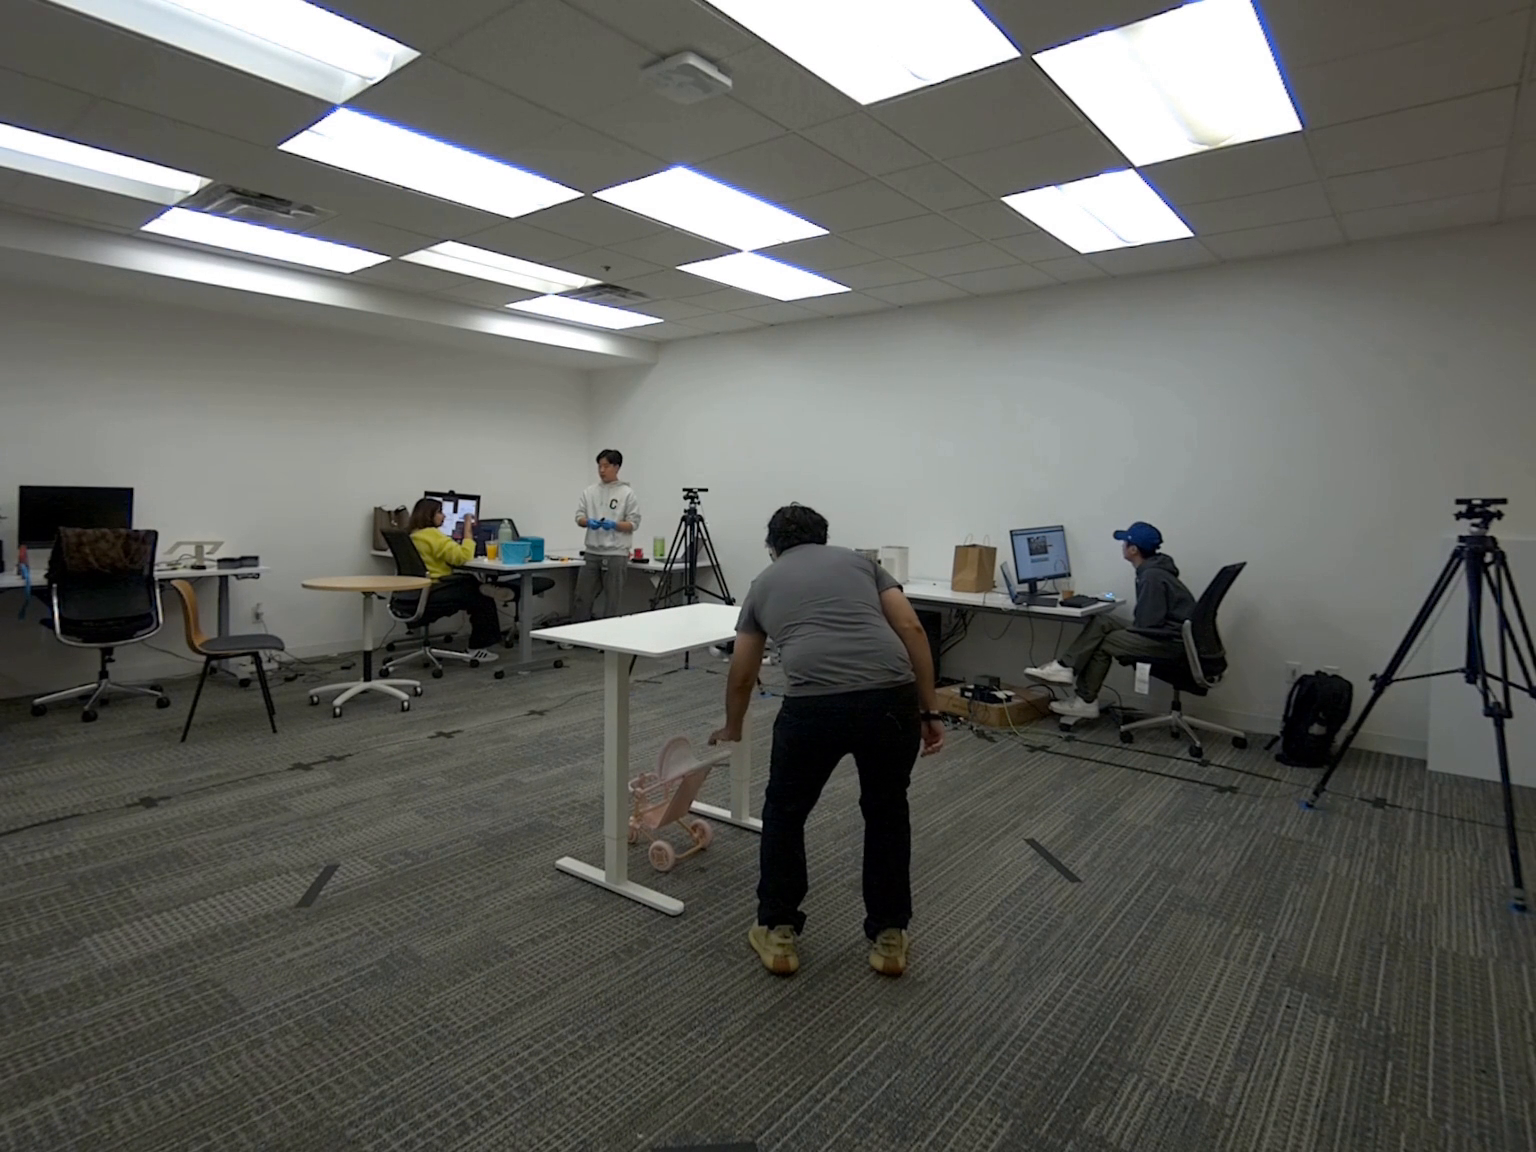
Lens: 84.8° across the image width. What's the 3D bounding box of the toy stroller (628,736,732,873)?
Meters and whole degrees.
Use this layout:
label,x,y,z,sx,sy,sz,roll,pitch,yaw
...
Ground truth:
label,x,y,z,sx,sy,sz,roll,pitch,yaw
toy stroller,-0.383,0.835,3.221,0.355,0.530,0.273,24,15,34
